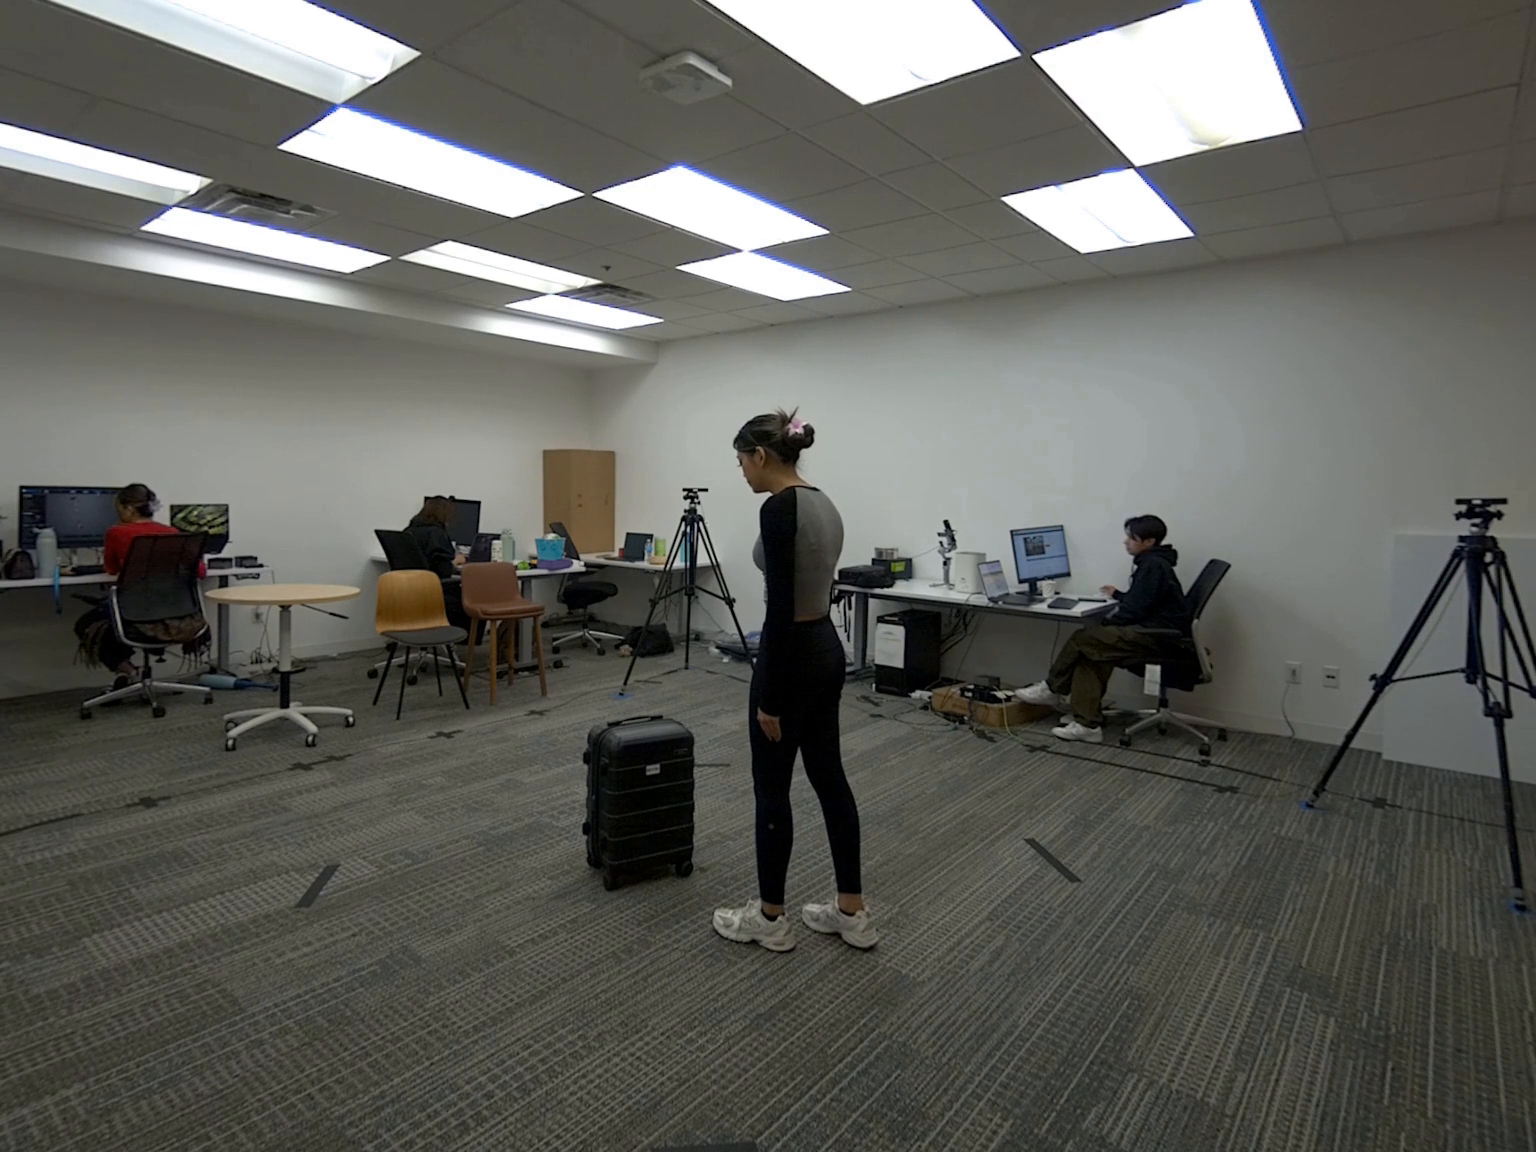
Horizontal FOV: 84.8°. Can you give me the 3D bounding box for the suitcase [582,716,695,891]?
[{"bbox_3d":[-0.467,0.790,3.077,0.365,0.548,0.256,0,4,-31],"label":"suitcase"}]
